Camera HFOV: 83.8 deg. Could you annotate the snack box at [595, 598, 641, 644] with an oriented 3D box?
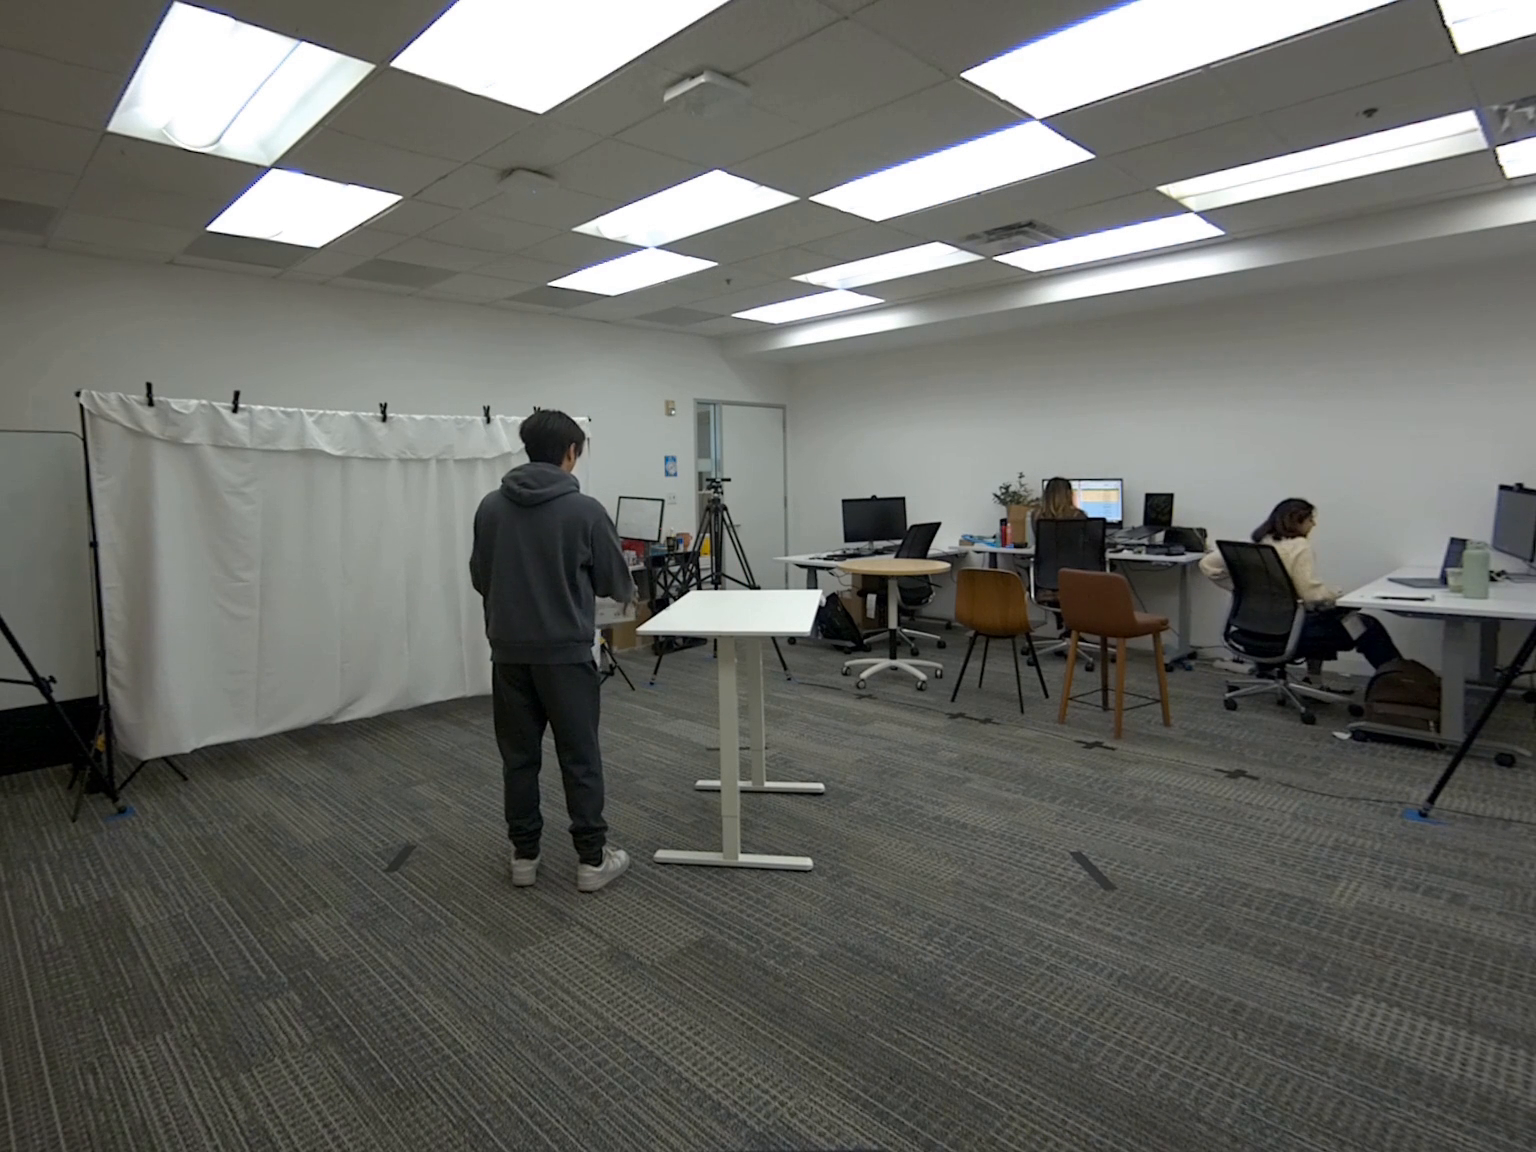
[{"bbox_3d":[-0.754,0.118,3.546,0.335,0.207,0.409,-5,-5,-18],"label":"snack box"}]
